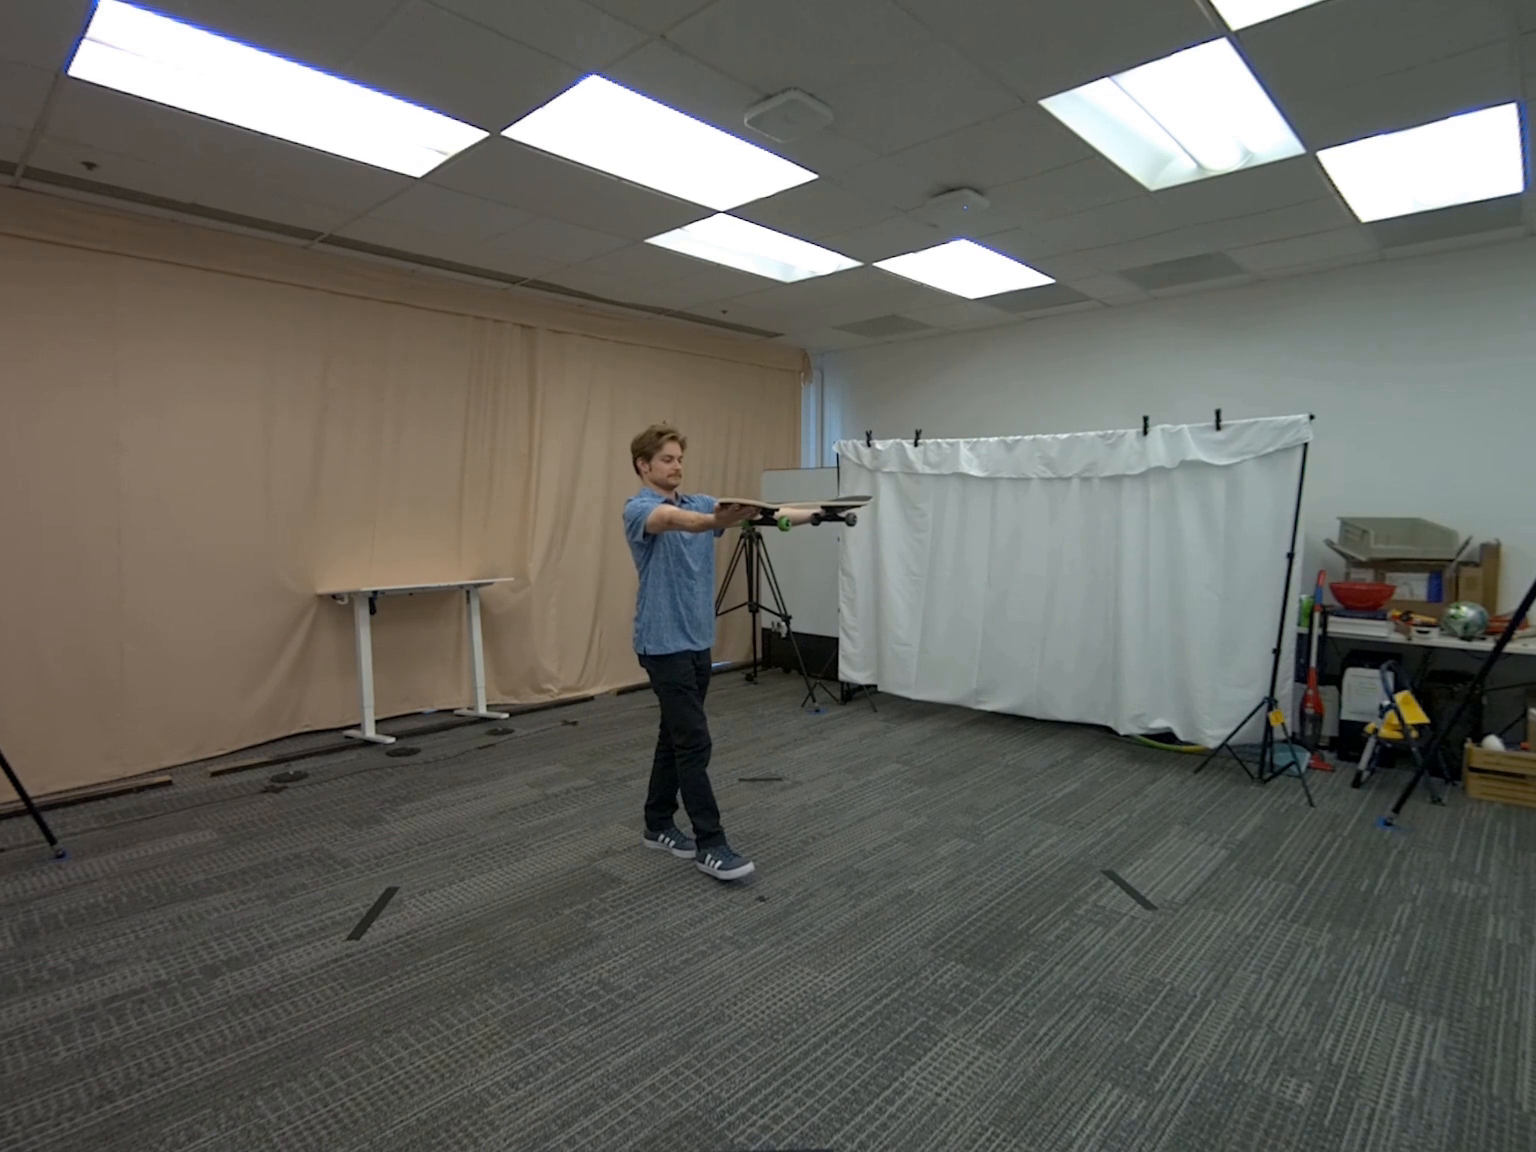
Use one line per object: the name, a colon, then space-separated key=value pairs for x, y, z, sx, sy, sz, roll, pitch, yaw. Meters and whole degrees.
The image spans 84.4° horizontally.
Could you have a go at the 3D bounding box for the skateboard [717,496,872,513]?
skateboard: x=0.120 y=-0.219 z=2.919 sx=0.200 sy=0.110 sz=0.762 roll=2 pitch=7 yaw=40
